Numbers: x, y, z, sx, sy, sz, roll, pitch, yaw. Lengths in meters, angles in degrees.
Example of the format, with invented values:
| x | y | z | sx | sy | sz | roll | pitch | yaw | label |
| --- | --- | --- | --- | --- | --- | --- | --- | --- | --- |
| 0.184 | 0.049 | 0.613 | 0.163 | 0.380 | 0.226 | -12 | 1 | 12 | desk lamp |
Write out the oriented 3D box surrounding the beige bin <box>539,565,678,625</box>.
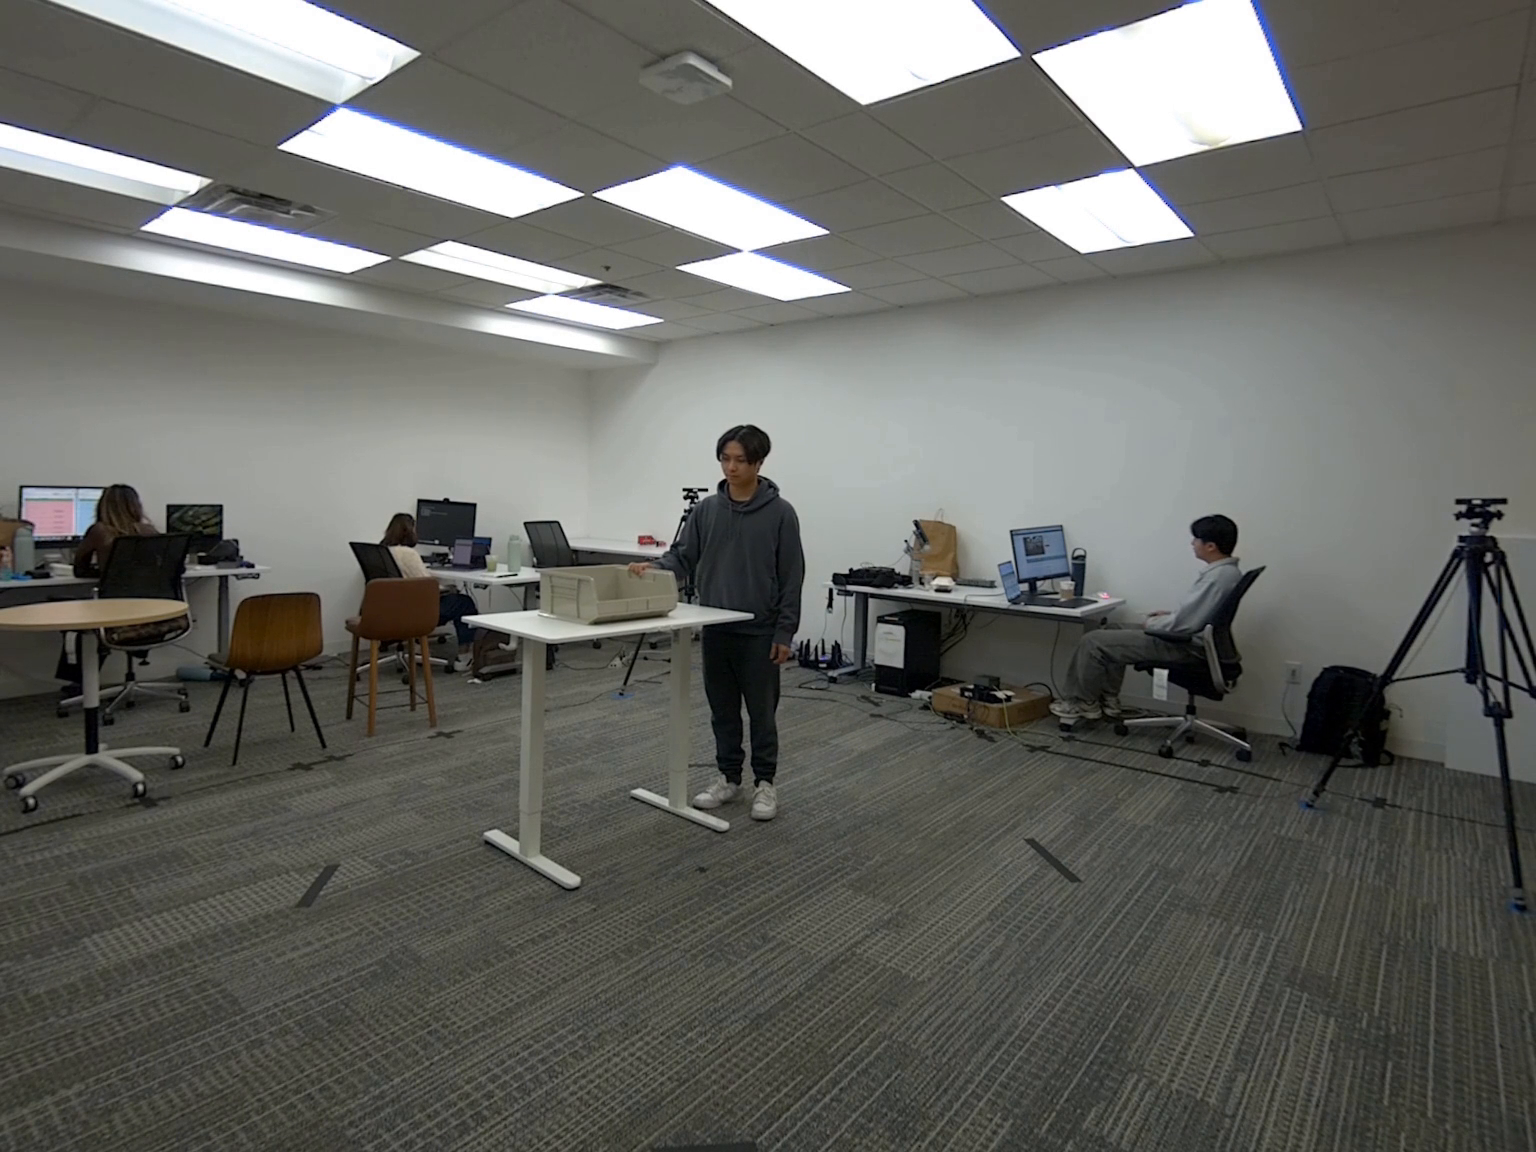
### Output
| x | y | z | sx | sy | sz | roll | pitch | yaw | label |
| --- | --- | --- | --- | --- | --- | --- | --- | --- | --- |
| -0.641 | 0.067 | 3.340 | 0.390 | 0.188 | 0.410 | 5 | 6 | 41 | beige bin |
